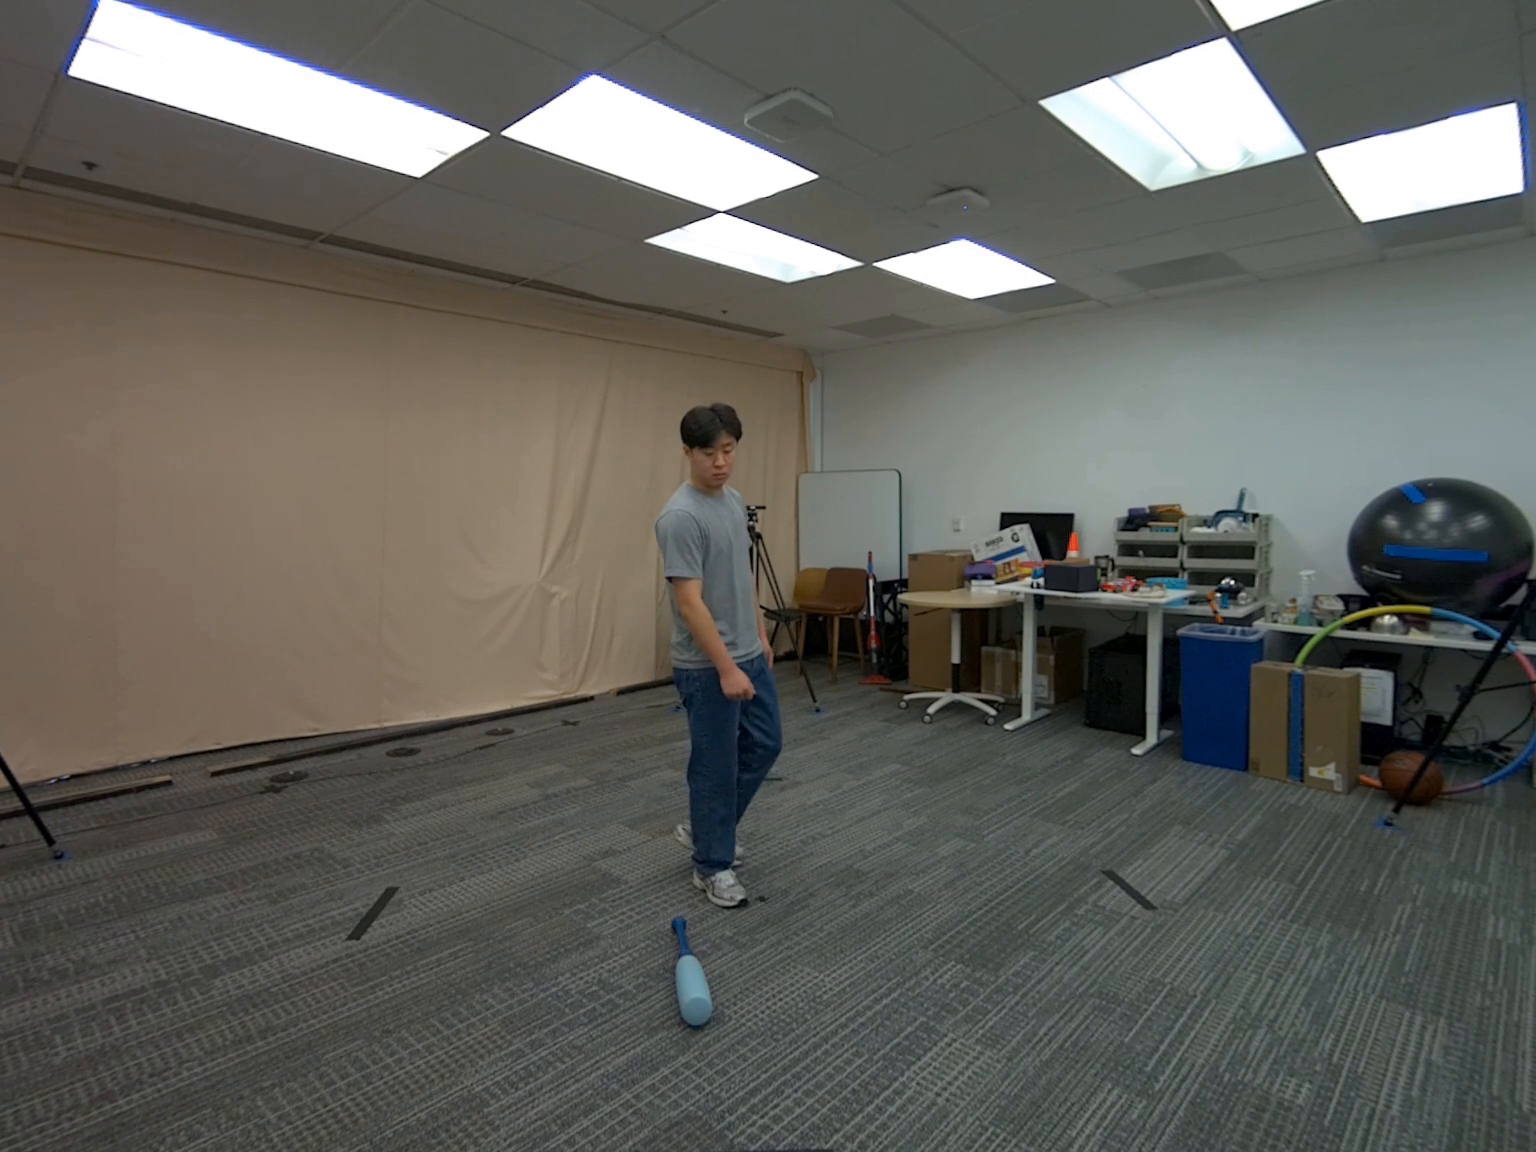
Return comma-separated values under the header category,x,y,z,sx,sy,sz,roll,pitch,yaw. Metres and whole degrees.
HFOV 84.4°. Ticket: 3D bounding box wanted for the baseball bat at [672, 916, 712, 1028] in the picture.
category,x,y,z,sx,sy,sz,roll,pitch,yaw
baseball bat,-0.237,1.146,2.494,0.088,0.089,0.548,-1,2,-10
